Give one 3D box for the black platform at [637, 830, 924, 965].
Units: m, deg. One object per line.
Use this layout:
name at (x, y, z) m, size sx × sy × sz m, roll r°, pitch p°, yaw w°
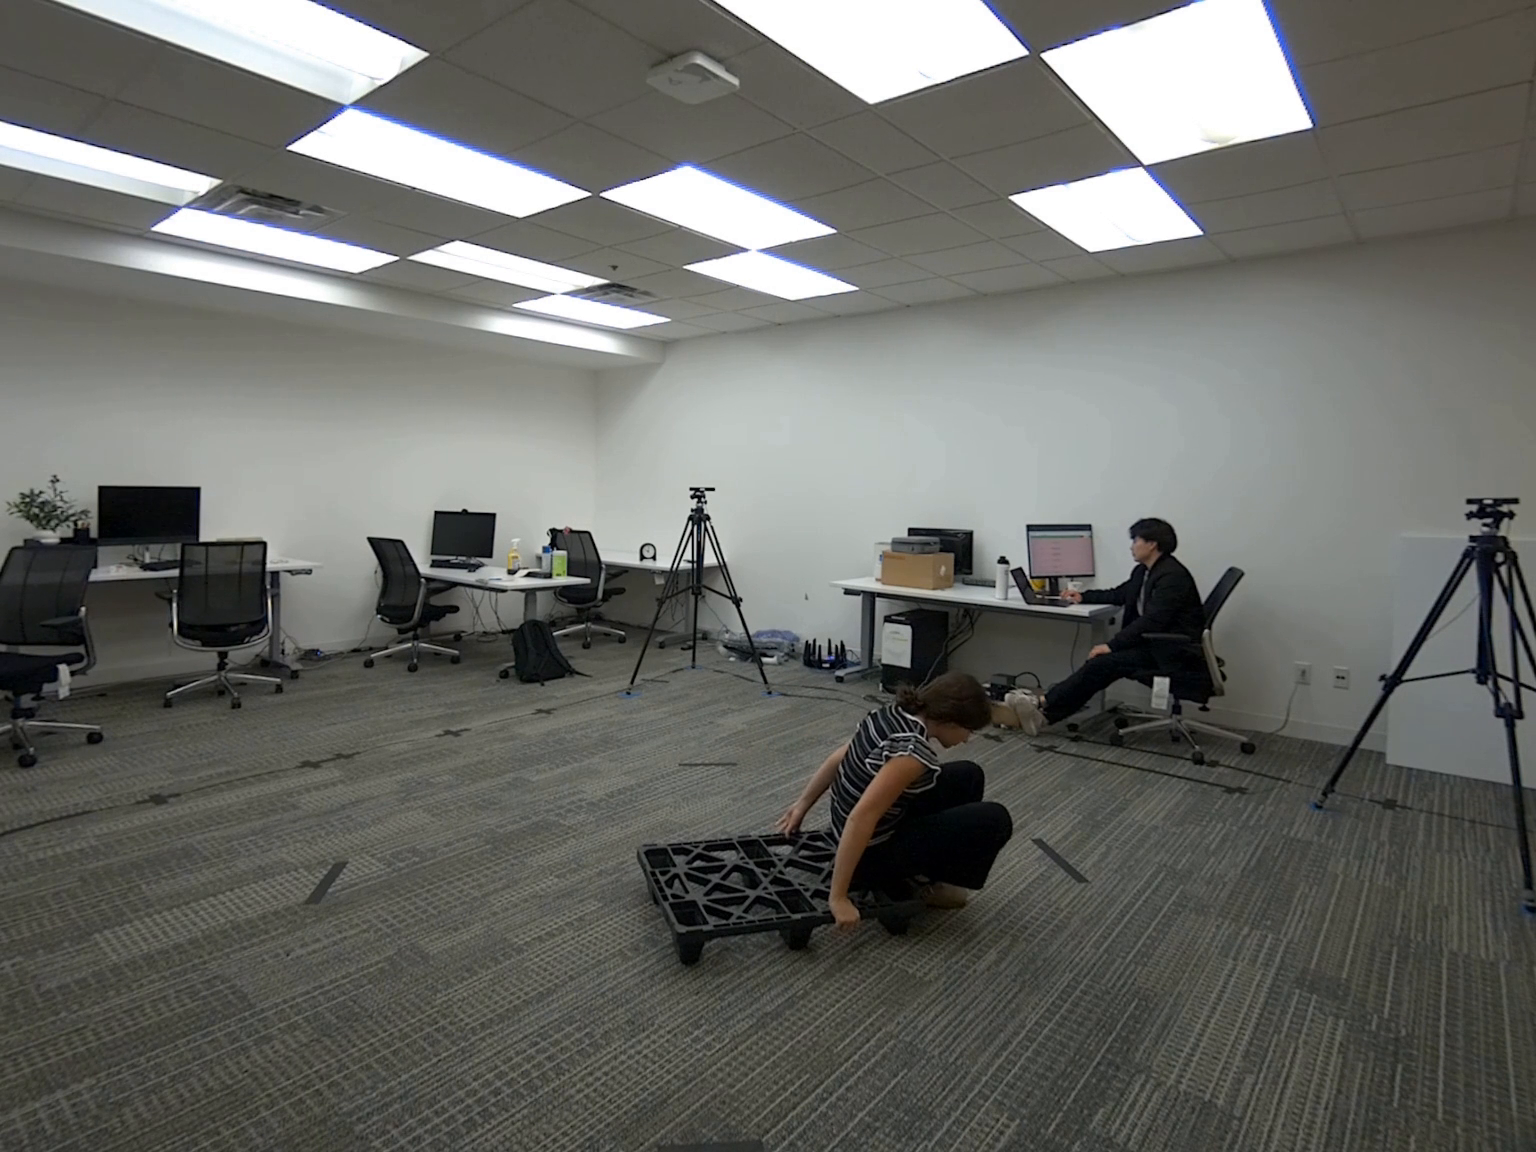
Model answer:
black platform at (0.010, 1.036, 2.794) m, size 0.791 × 0.143 × 0.619 m, roll 0°, pitch 7°, yaw -18°
